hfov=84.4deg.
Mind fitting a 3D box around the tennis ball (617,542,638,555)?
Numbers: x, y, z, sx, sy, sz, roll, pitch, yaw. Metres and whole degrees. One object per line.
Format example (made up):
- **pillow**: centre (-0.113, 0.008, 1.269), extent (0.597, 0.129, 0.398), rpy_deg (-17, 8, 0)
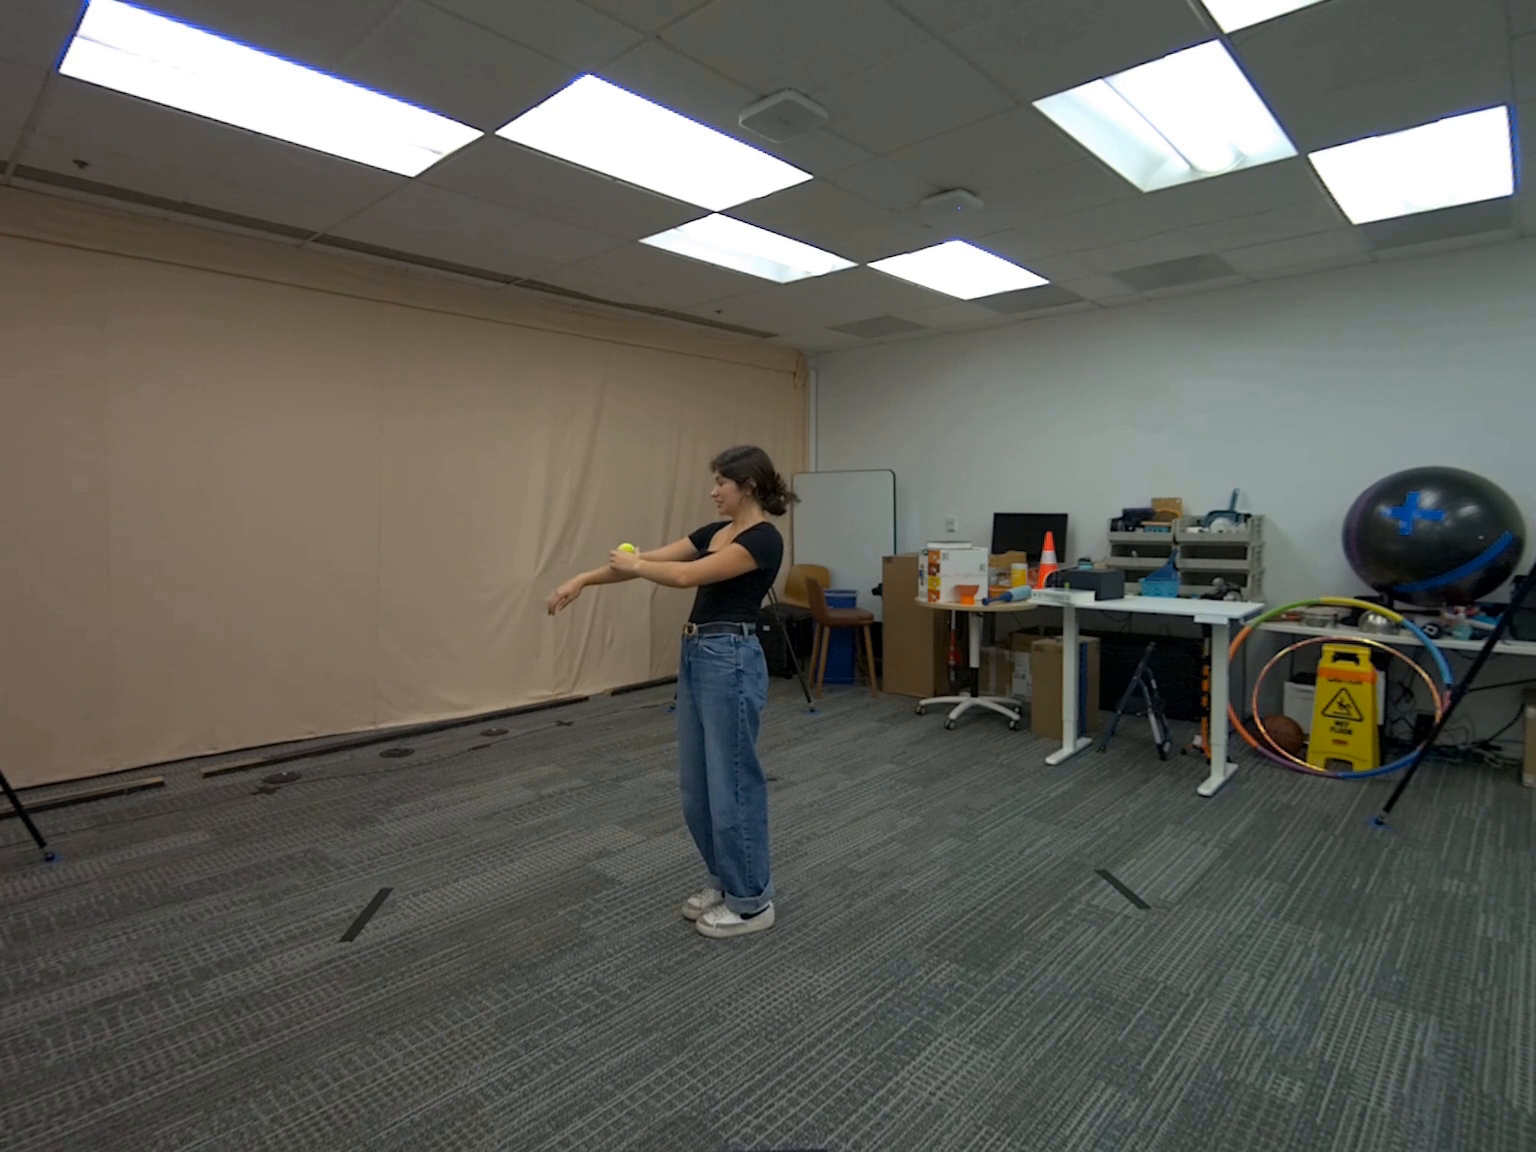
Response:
- **tennis ball**: centre (-0.449, -0.092, 2.826), extent (0.066, 0.066, 0.067), rpy_deg (0, 4, -2)
